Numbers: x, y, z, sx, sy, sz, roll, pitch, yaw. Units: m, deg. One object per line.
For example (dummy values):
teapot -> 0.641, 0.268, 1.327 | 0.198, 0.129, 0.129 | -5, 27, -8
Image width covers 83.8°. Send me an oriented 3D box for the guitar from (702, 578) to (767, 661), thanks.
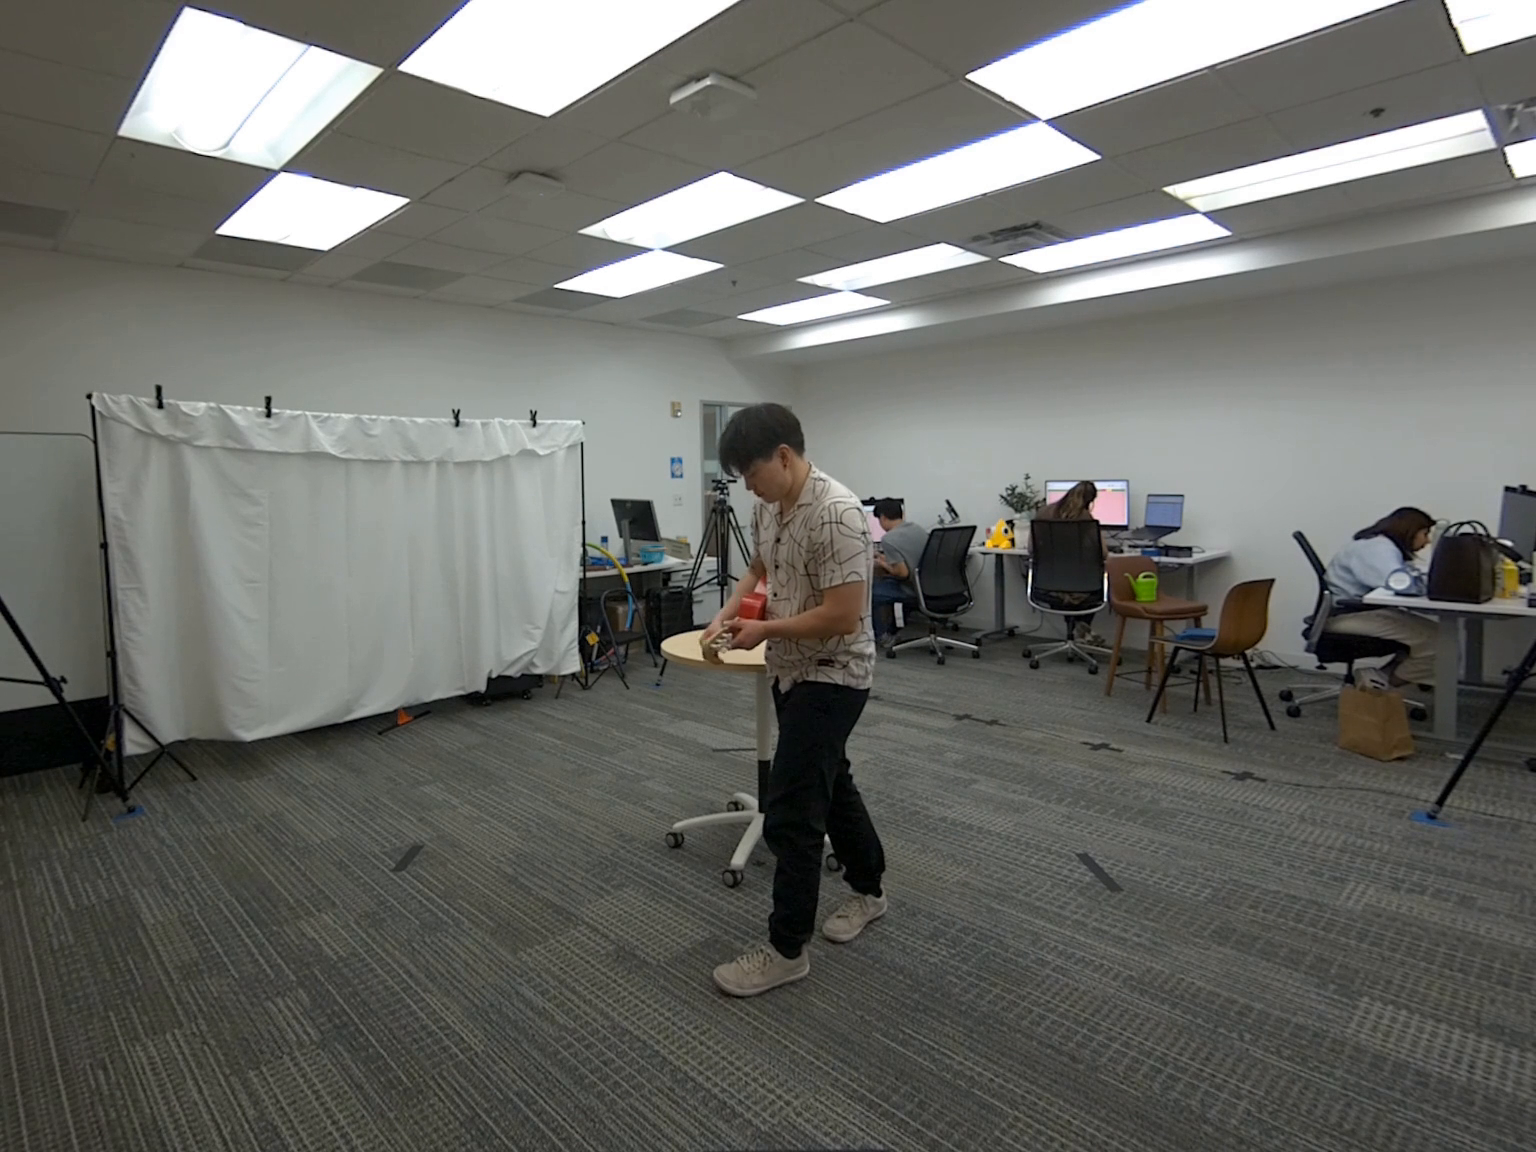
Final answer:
guitar -> -0.064, 0.160, 2.464 | 0.072, 0.189, 0.497 | 14, 28, 17
